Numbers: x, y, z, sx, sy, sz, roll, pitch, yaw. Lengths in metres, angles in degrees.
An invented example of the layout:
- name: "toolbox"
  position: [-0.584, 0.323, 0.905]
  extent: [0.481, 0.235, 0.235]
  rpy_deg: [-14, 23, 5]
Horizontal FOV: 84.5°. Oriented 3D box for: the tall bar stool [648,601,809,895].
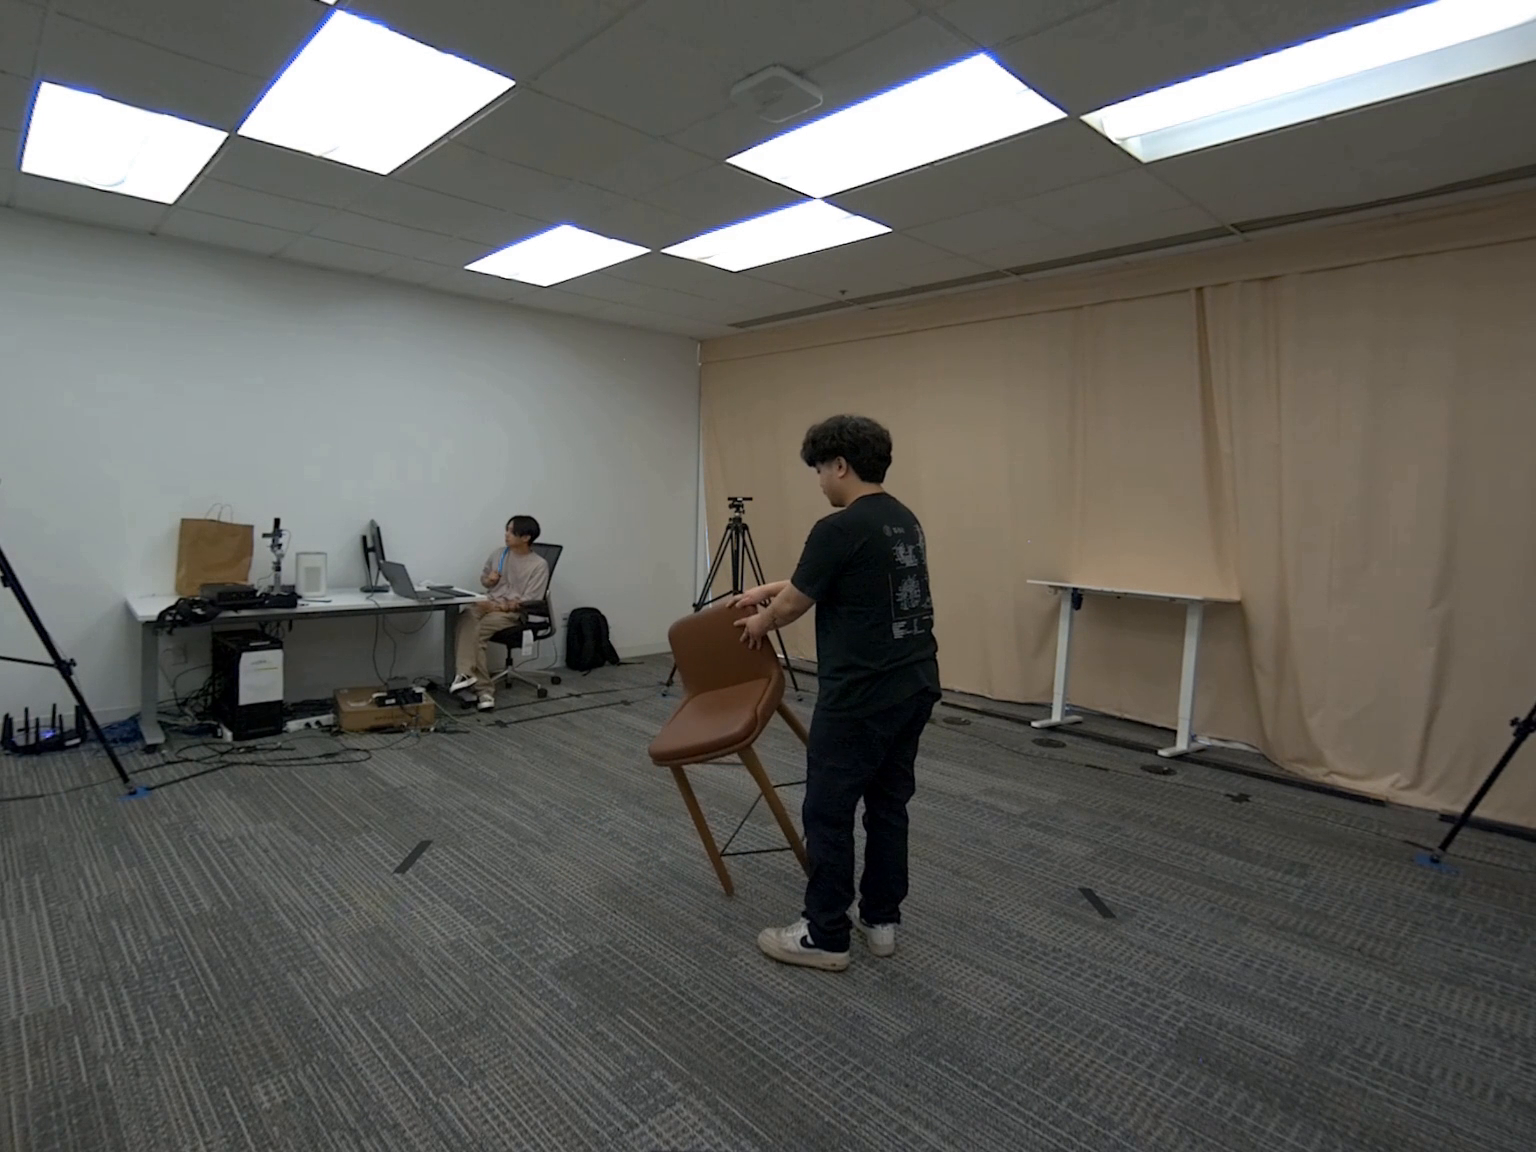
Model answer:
- name: "tall bar stool"
  position: [-0.103, 0.601, 2.929]
  extent: [0.463, 0.879, 0.466]
  rpy_deg: [-19, 14, 34]
